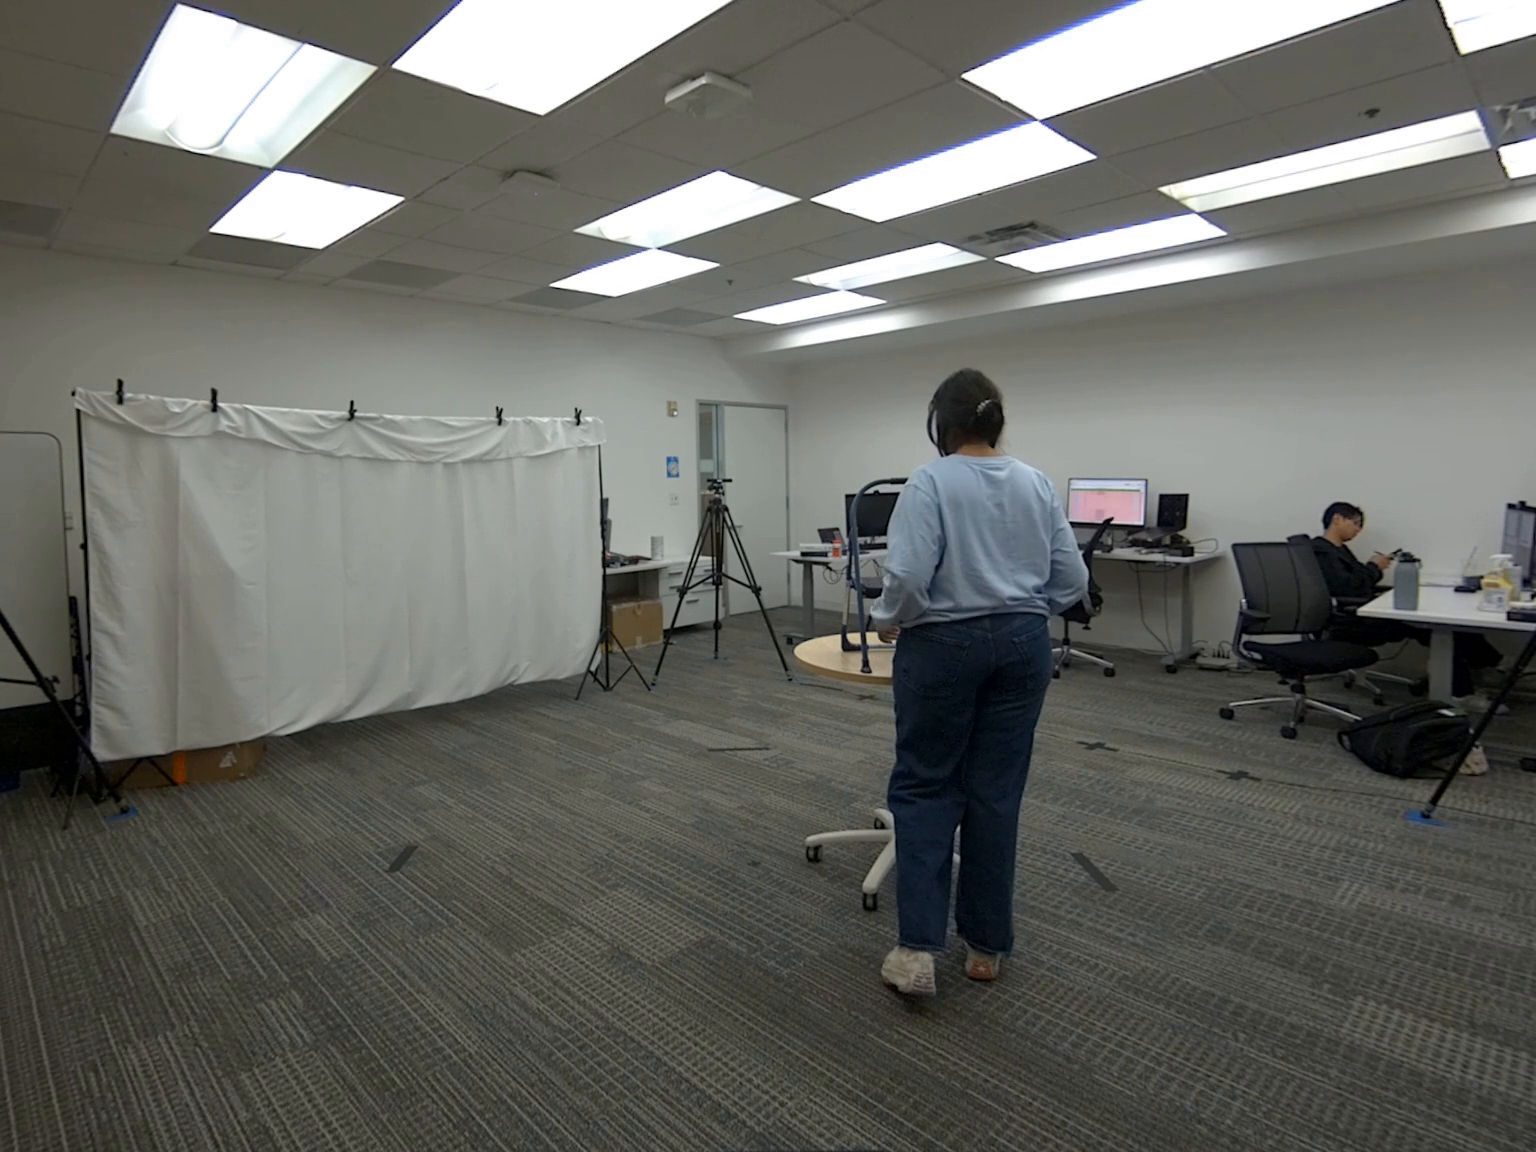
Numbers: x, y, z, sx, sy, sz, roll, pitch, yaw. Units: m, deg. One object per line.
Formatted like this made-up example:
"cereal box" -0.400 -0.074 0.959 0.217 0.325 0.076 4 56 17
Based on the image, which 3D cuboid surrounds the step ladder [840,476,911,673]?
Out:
"step ladder" 0.491 -0.028 2.839 0.428 0.604 0.353 -1 4 -6
